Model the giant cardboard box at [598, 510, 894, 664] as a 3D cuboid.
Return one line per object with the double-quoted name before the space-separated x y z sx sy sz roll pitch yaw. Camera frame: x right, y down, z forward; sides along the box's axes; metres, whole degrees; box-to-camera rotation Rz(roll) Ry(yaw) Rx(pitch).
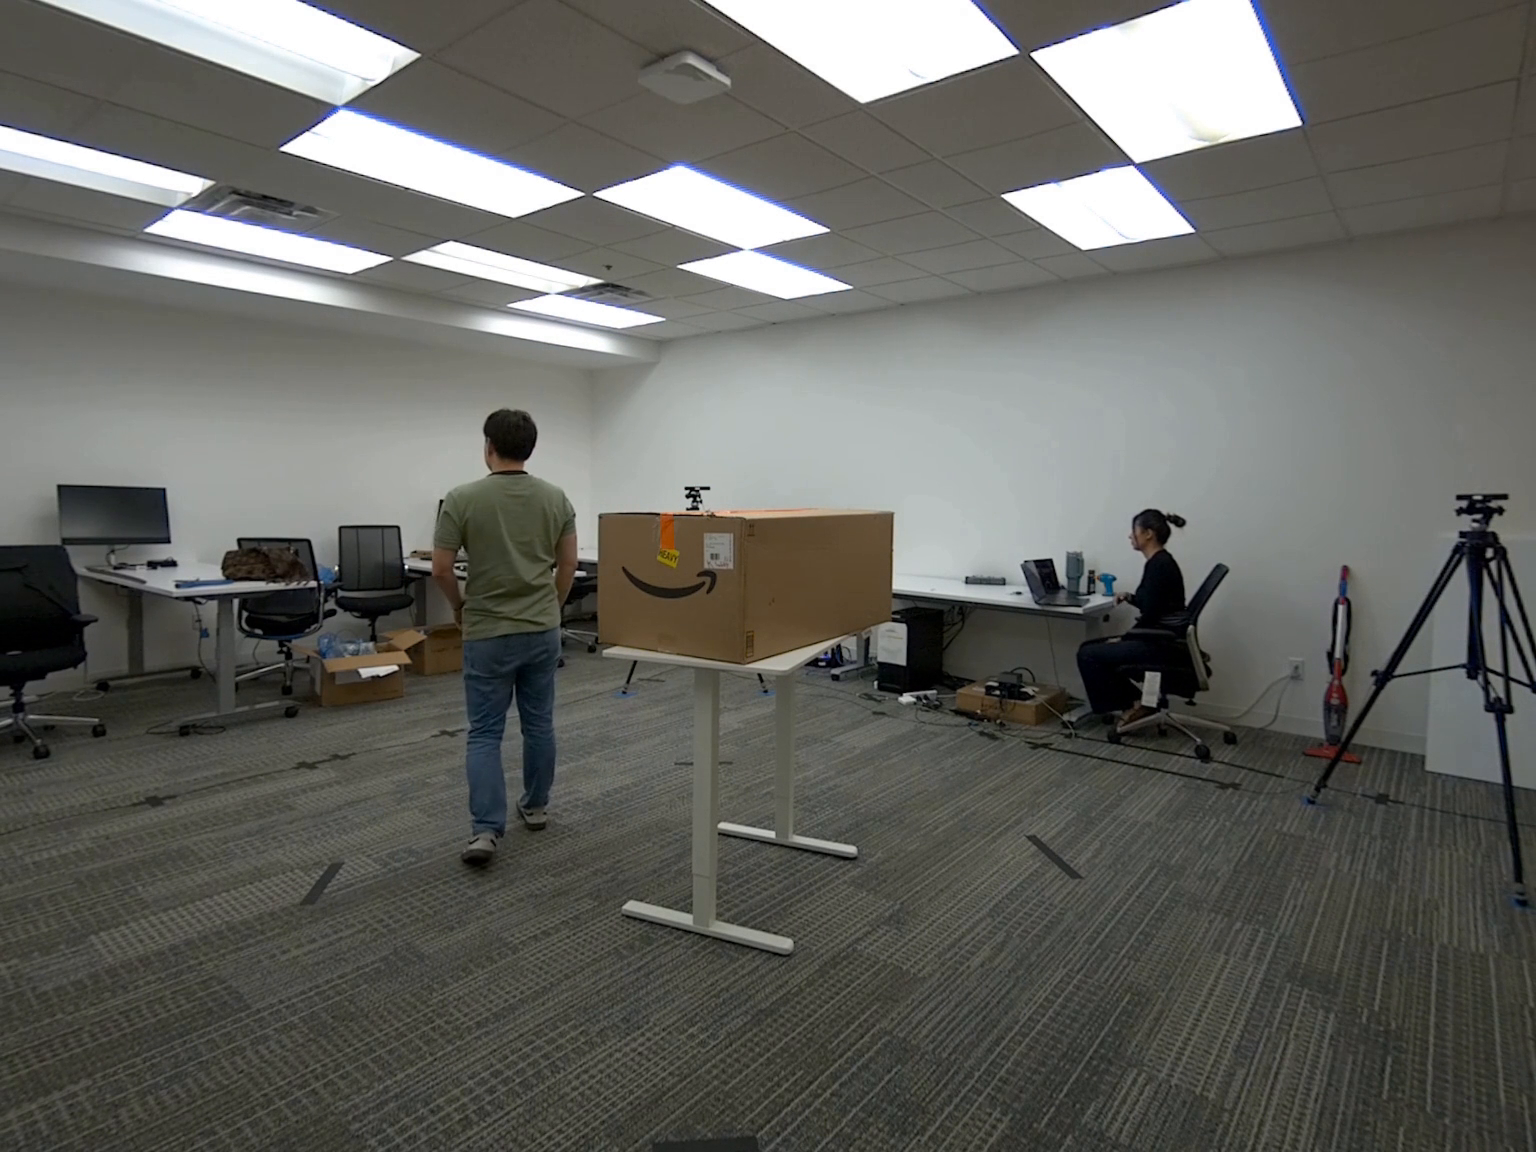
"giant cardboard box" -0.044 -0.014 2.994 0.595 0.424 0.998 3 6 33
